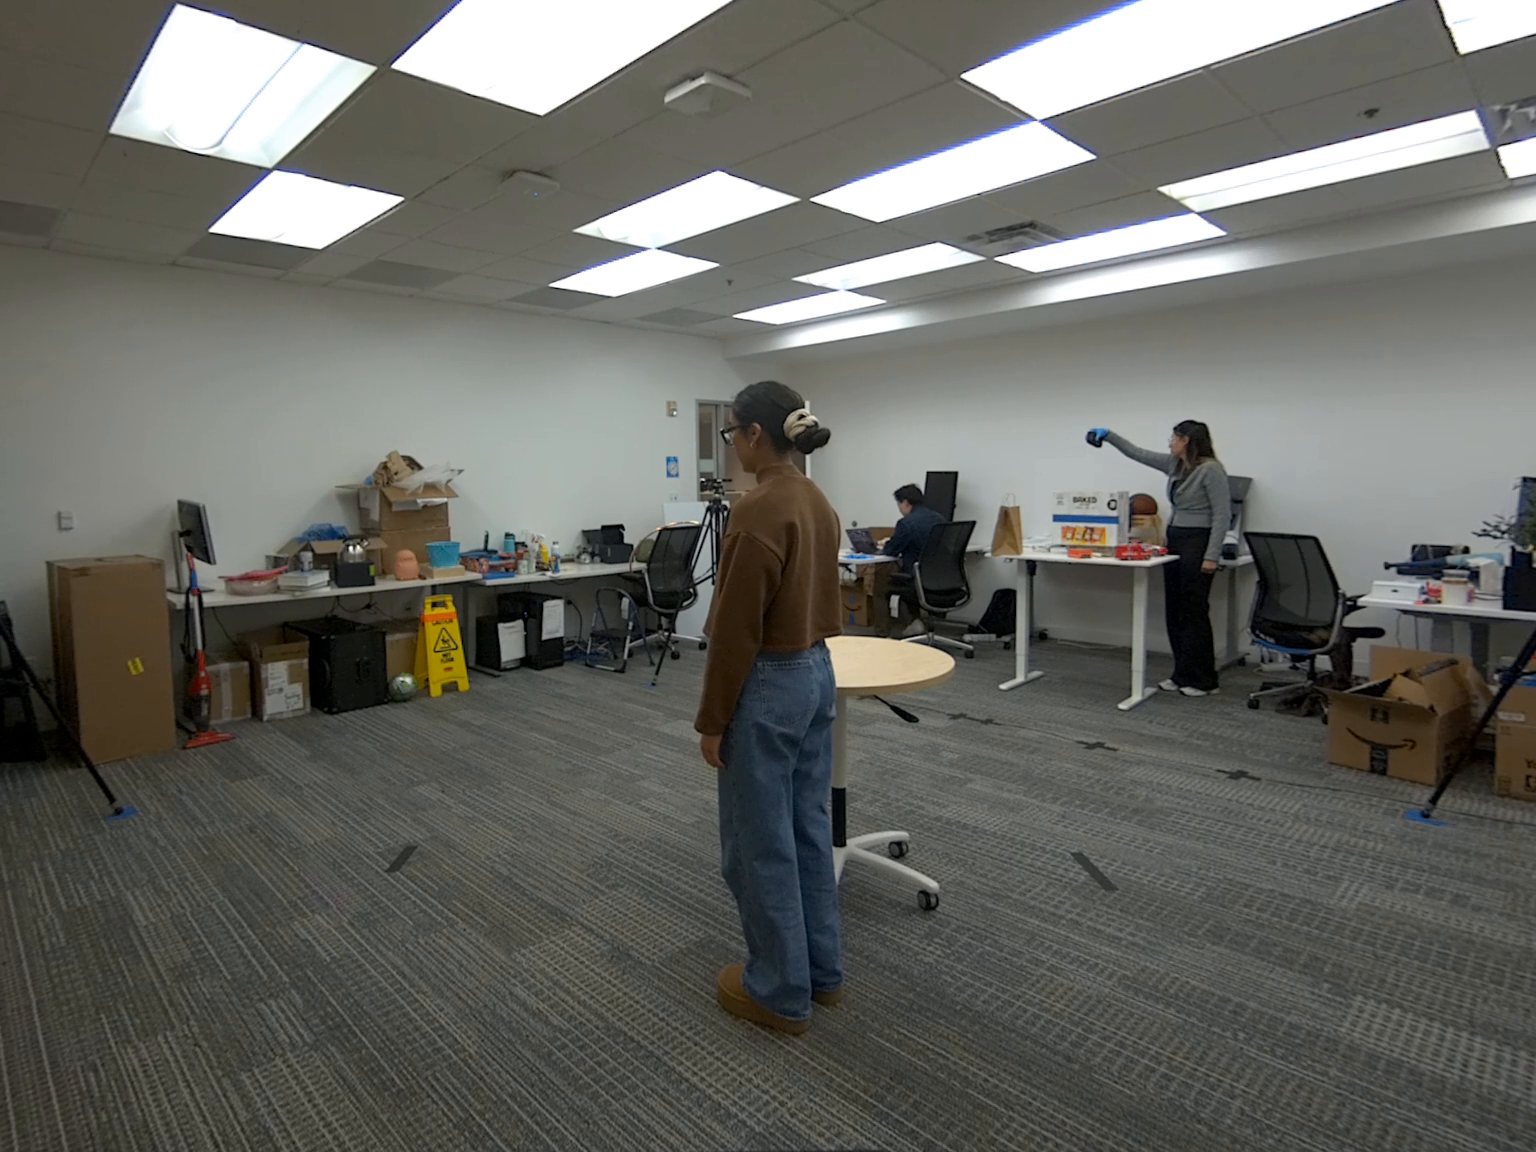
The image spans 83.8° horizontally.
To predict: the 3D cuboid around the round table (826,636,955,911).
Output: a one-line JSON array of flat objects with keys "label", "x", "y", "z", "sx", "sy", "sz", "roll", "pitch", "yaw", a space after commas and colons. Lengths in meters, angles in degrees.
[{"label": "round table", "x": 0.251, "y": 0.673, "z": 2.908, "sx": 0.763, "sy": 0.790, "sz": 0.768, "roll": -1, "pitch": 5, "yaw": -2}]
